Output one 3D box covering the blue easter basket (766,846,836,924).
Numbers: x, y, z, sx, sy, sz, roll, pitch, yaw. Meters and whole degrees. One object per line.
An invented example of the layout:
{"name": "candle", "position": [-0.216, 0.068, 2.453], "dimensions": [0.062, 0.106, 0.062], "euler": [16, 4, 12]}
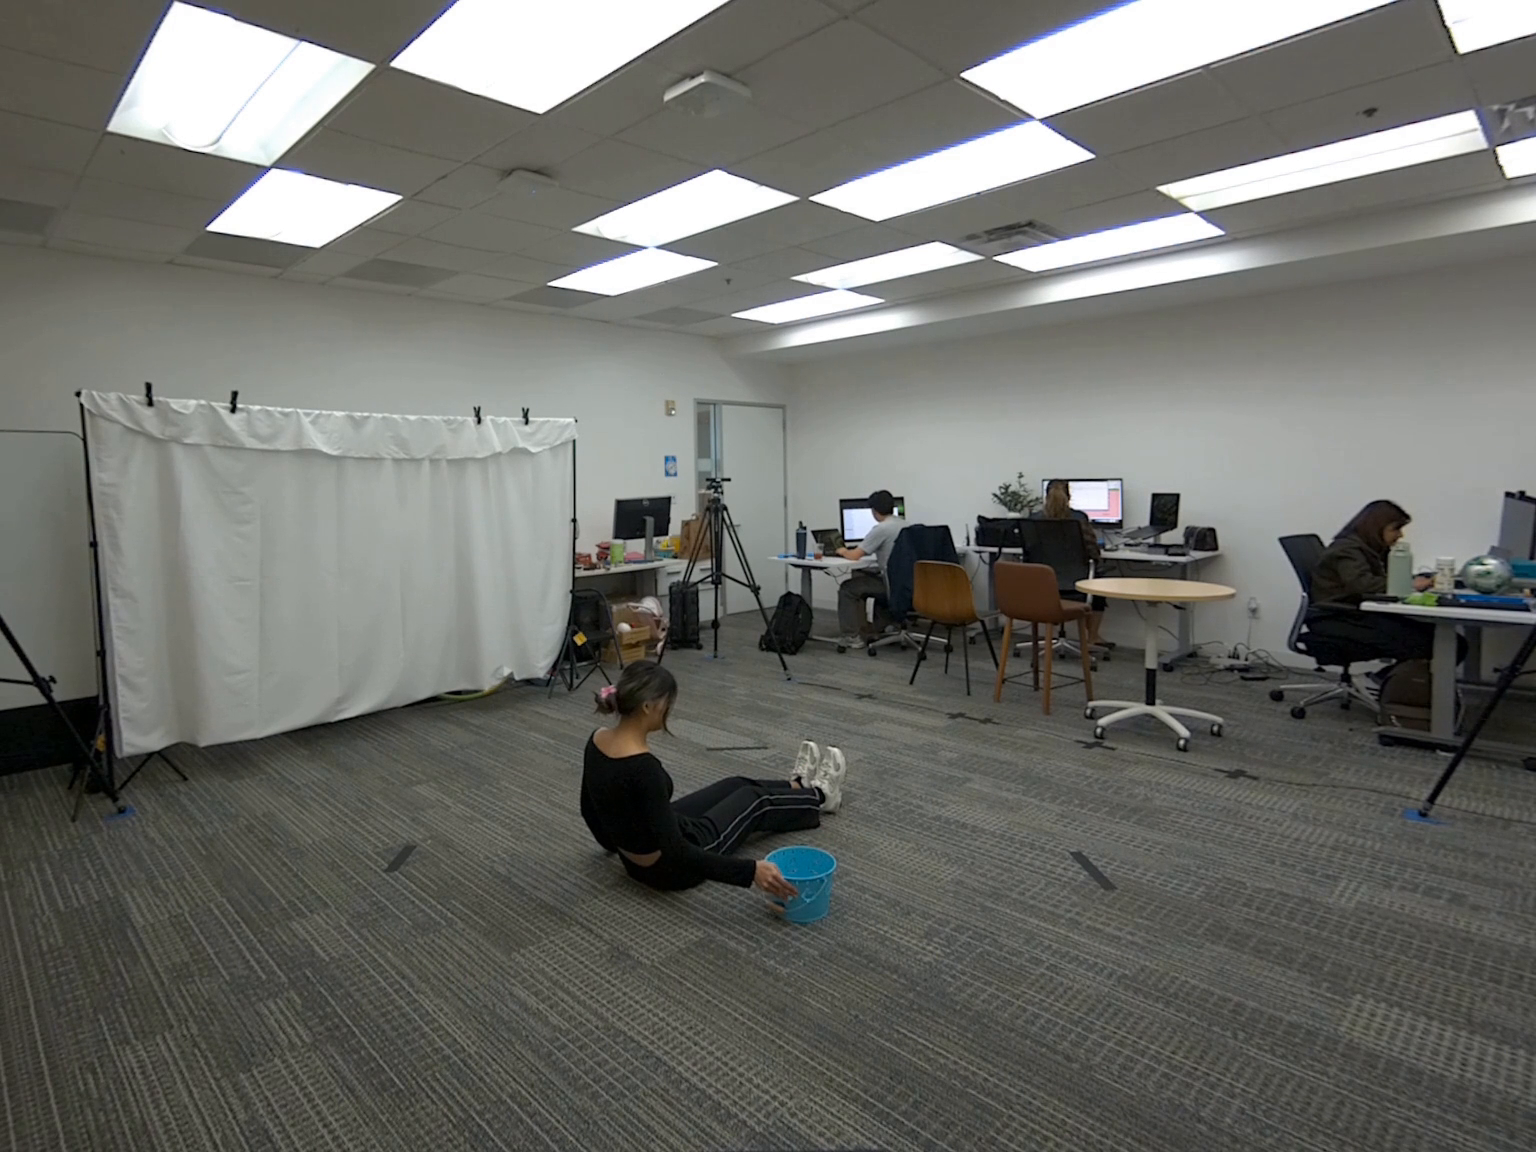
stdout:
{"name": "blue easter basket", "position": [0.099, 0.997, 2.767], "dimensions": [0.243, 0.155, 0.245], "euler": [-2, 6, -2]}
